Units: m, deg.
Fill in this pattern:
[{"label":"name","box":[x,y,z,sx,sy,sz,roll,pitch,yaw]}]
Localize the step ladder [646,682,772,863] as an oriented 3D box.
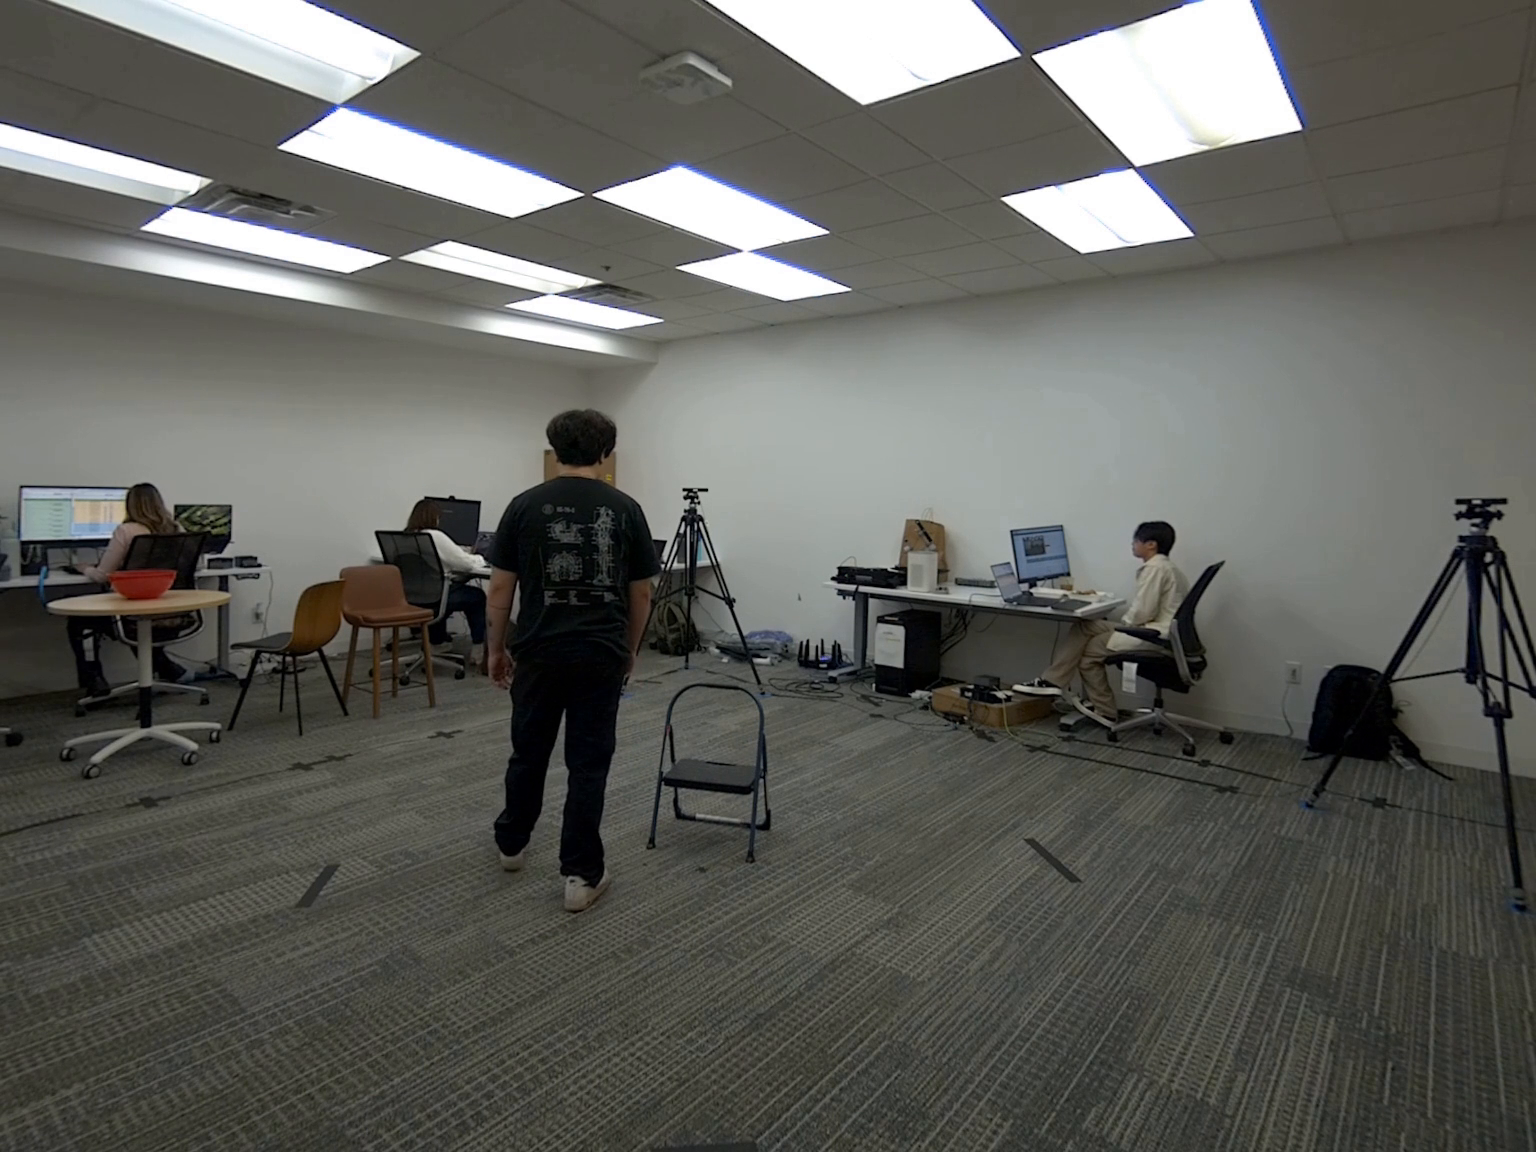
[{"label":"step ladder","box":[-0.229,0.739,3.377,0.438,0.604,0.345,2,4,14]}]
